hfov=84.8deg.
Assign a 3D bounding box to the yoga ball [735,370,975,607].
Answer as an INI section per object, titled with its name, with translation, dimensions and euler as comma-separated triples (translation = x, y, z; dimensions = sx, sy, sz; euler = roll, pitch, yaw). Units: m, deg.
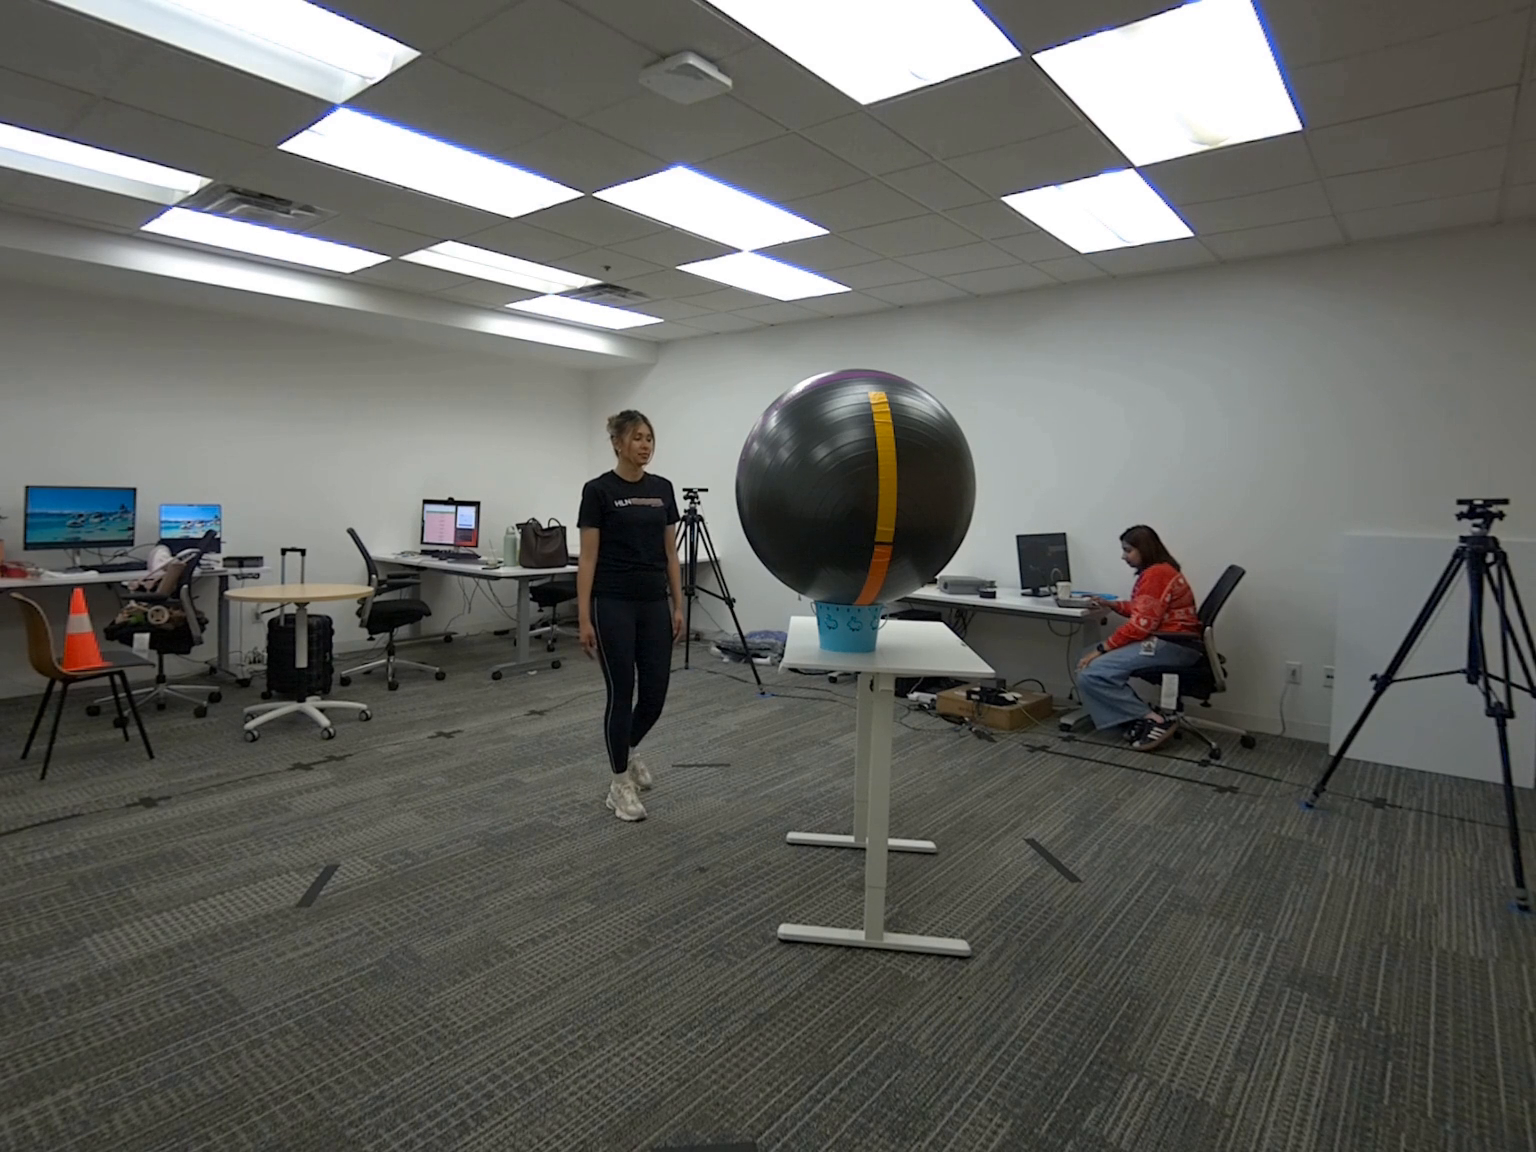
[yoga ball]
translation = 0.265, -0.275, 2.727
dimensions = 0.757, 0.756, 0.762
euler = 1, 4, -2
